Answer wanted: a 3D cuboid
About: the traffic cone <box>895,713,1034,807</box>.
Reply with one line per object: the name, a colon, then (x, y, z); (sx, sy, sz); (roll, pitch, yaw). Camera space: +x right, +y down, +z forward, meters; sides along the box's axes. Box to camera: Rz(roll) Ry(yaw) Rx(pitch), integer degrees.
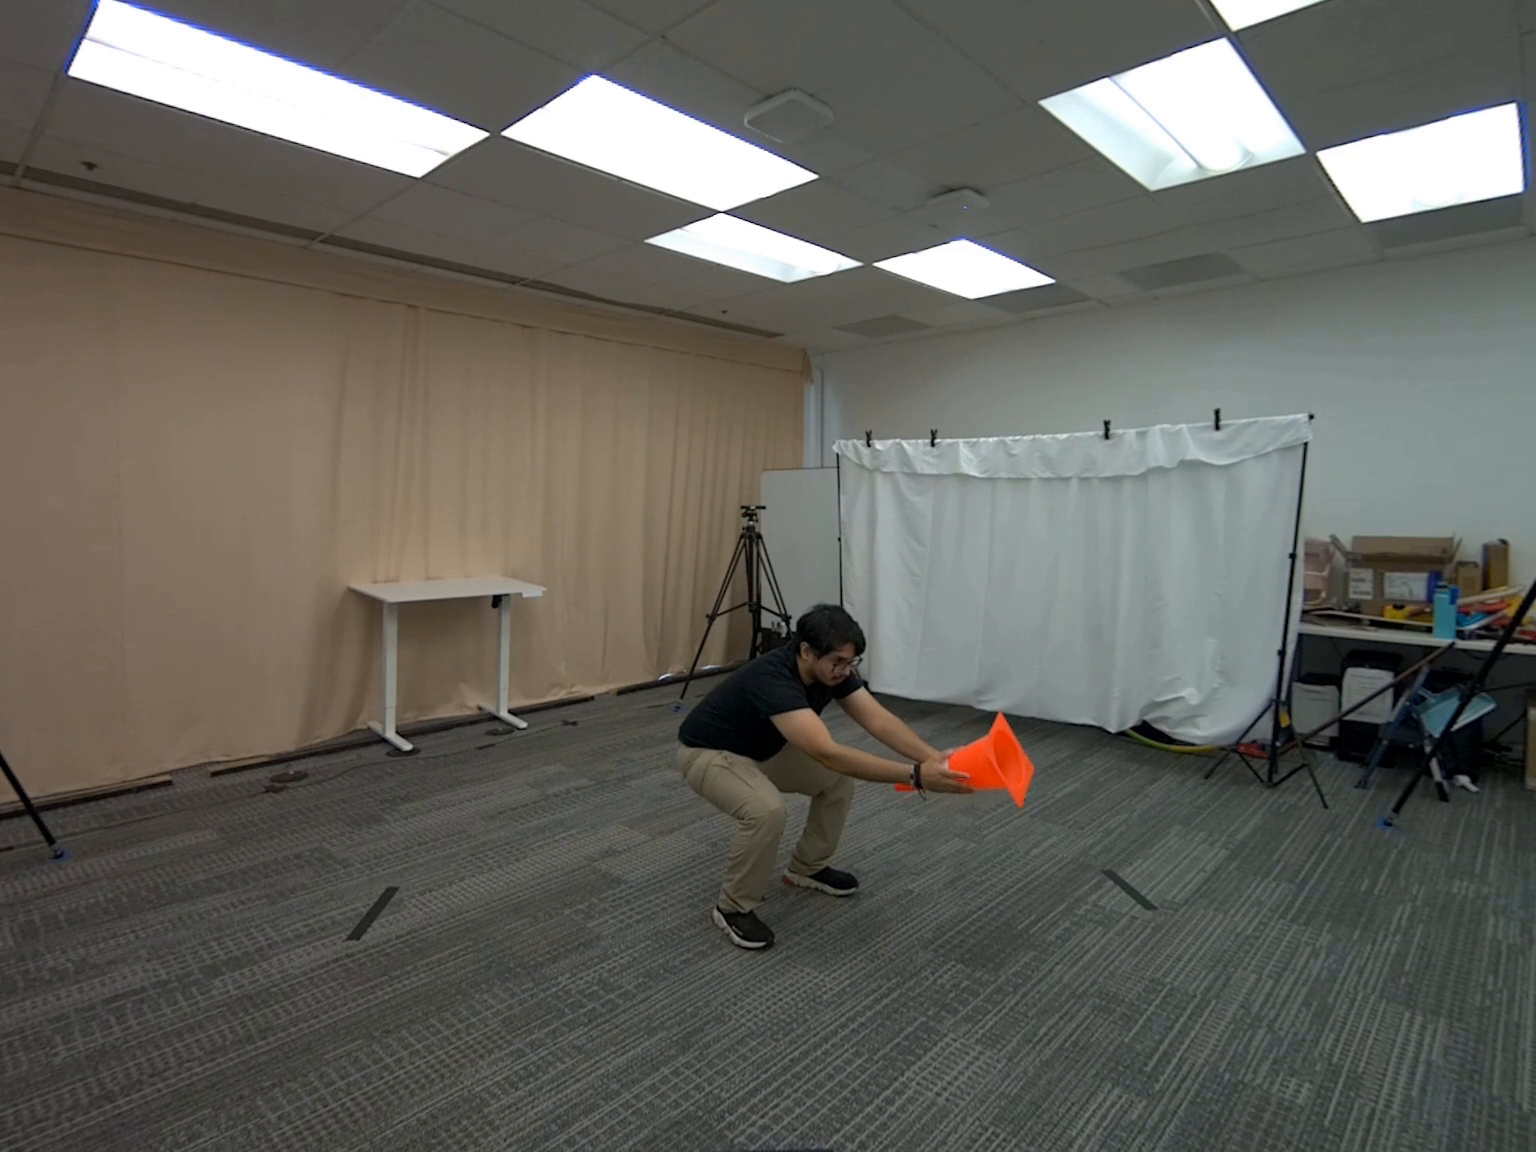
traffic cone: (0.541, 0.569, 2.461); (0.392, 0.202, 0.202); (-23, 11, 37)
